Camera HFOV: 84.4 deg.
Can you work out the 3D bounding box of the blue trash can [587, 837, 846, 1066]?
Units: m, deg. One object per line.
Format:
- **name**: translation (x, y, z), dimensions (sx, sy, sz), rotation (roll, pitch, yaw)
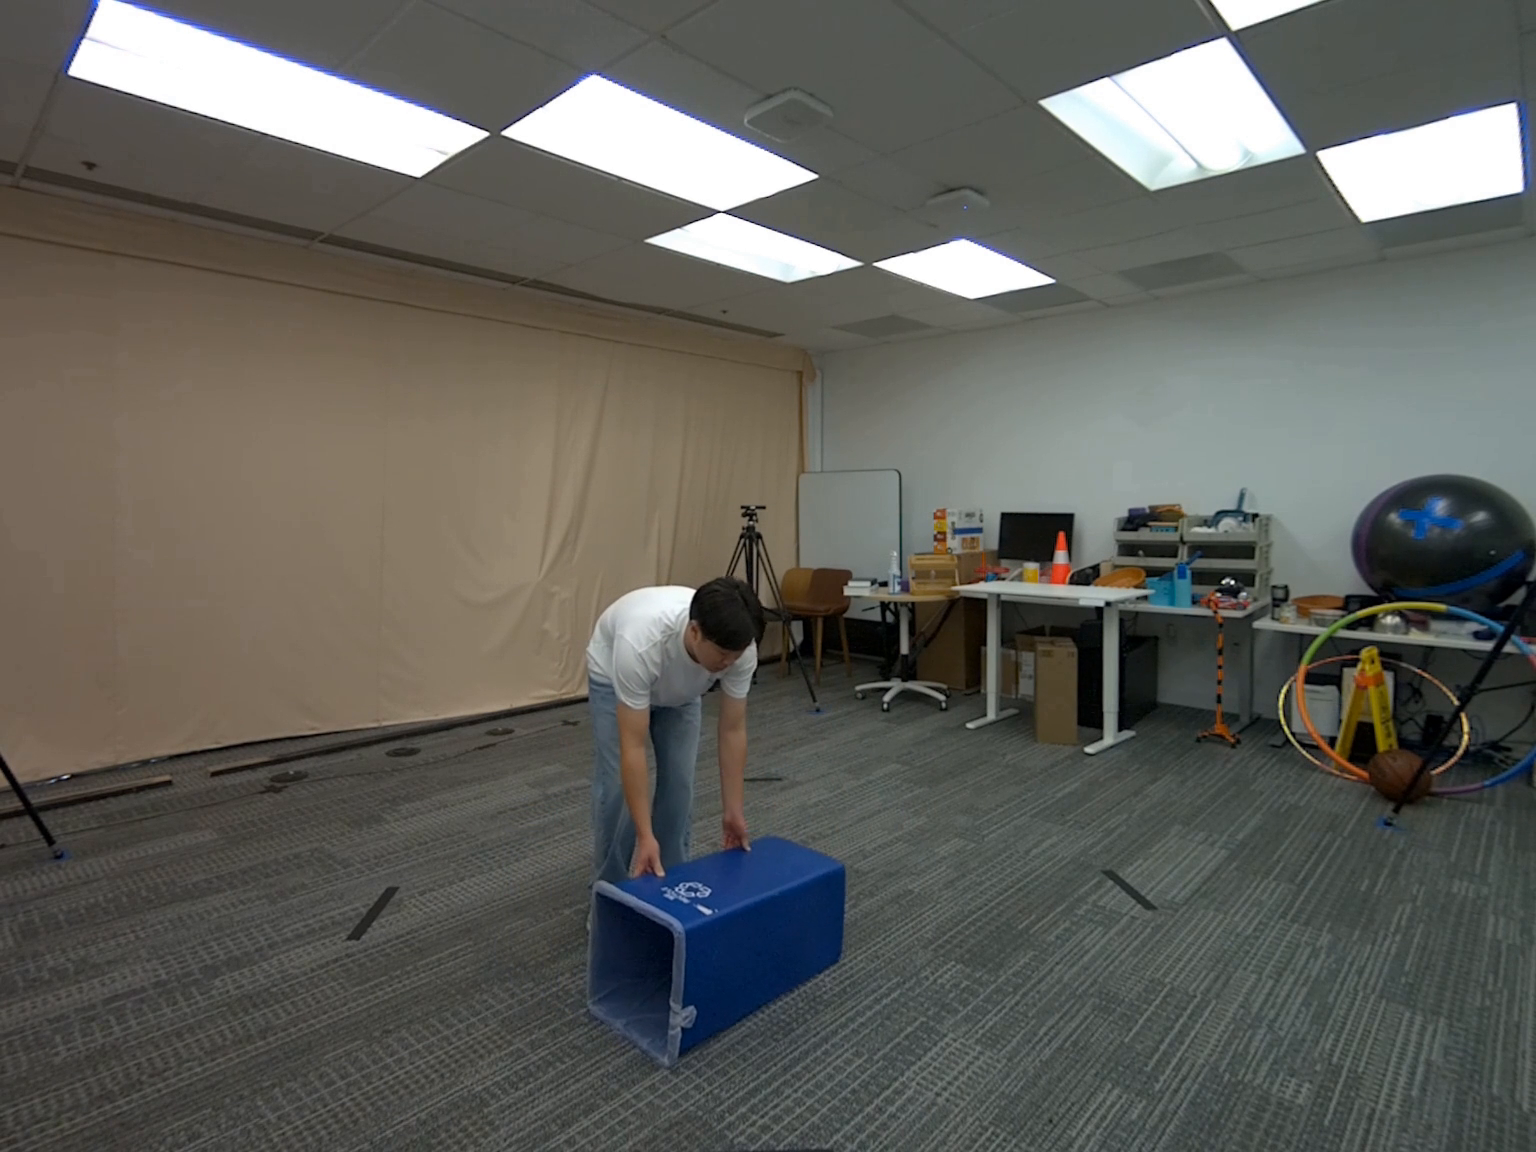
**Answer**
- **blue trash can**: translation (-0.117, 1.027, 2.431), dimensions (0.387, 0.377, 0.691), rotation (4, 3, 43)
